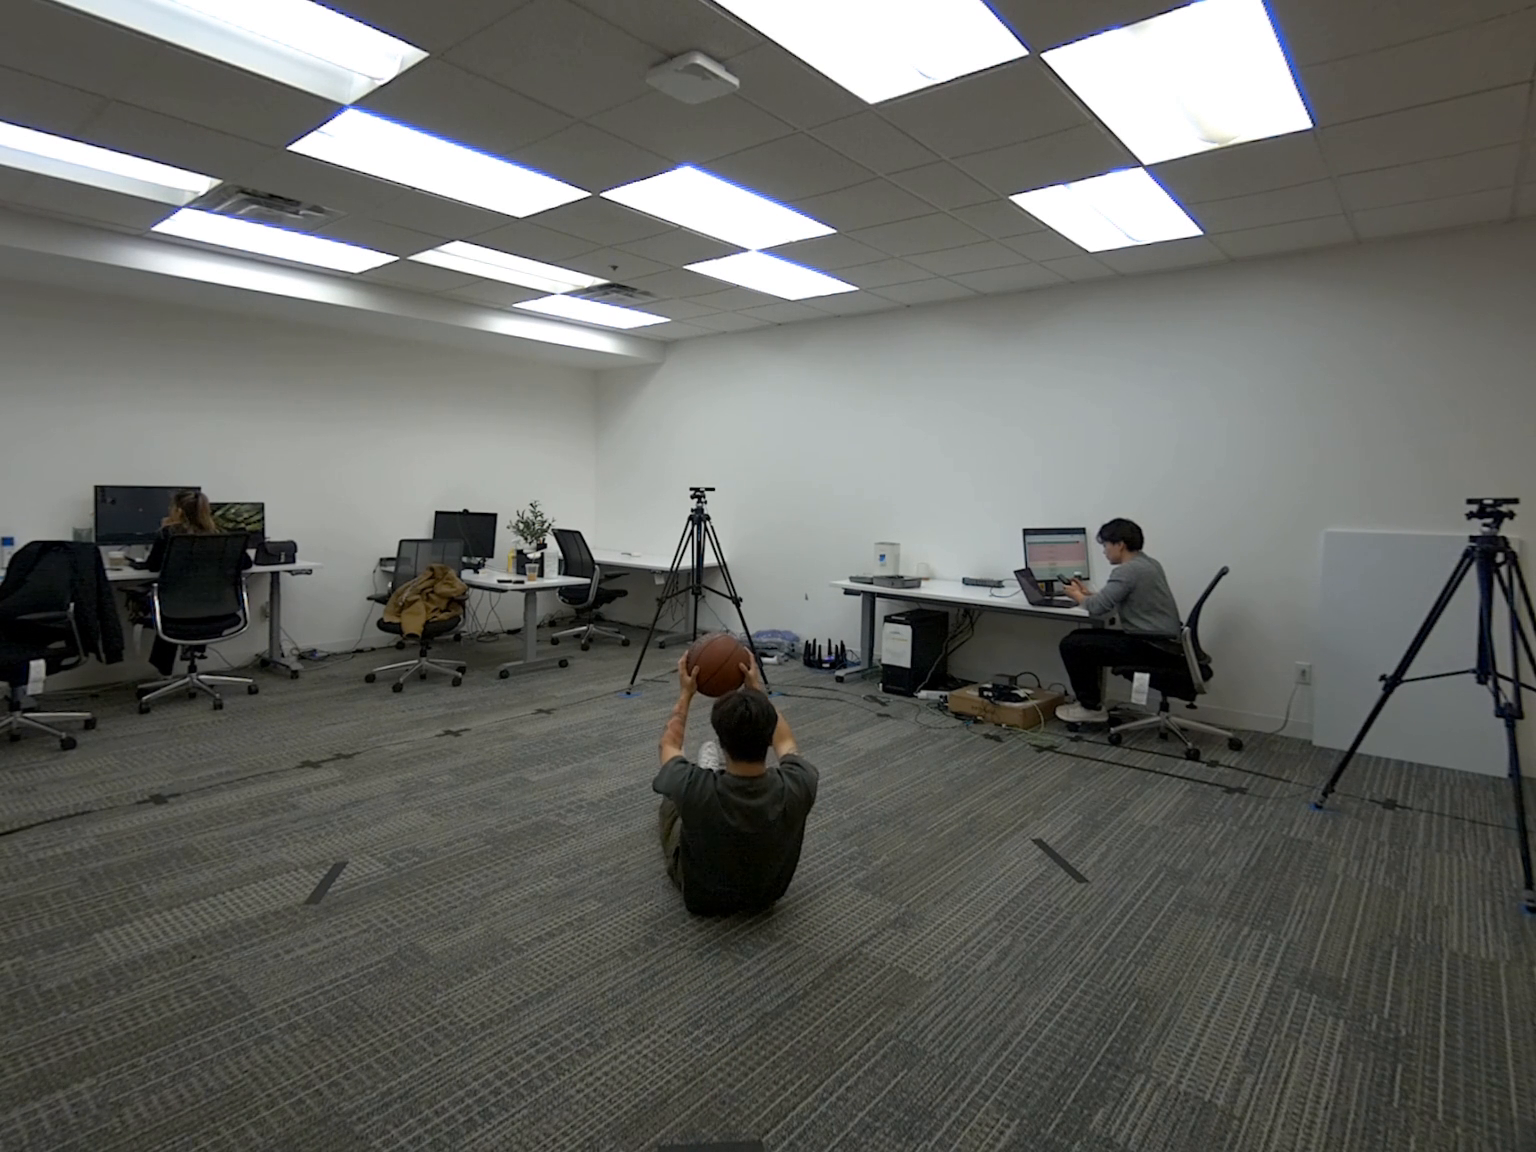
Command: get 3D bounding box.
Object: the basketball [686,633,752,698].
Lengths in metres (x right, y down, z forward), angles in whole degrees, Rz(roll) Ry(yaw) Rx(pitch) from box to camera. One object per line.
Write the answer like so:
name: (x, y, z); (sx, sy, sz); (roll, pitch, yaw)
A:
basketball: (-0.196, 0.332, 3.159); (0.235, 0.235, 0.237); (1, 4, -2)
